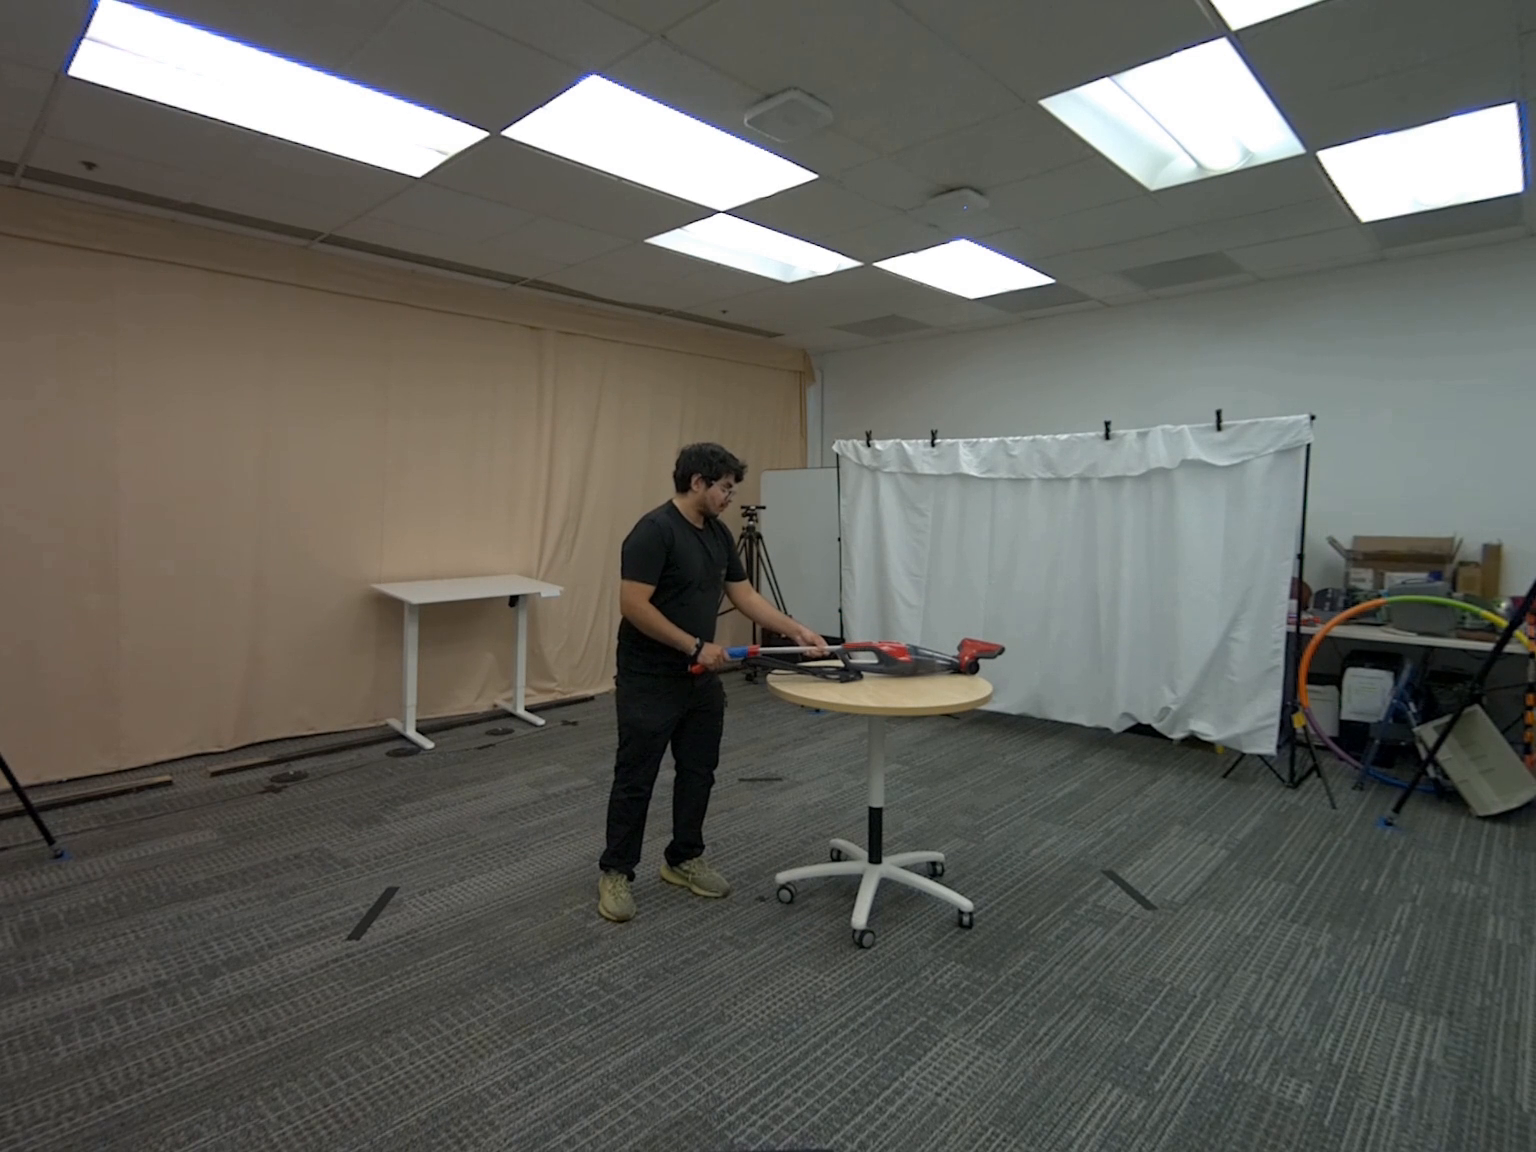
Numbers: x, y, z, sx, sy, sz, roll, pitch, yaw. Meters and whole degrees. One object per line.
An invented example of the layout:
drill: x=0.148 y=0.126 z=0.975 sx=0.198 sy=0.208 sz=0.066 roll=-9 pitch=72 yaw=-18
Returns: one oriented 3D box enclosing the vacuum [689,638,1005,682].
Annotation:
vacuum: x=0.272 y=0.304 z=2.934 sx=1.032 sy=0.144 sz=0.257 roll=-1 pitch=4 yaw=-16
